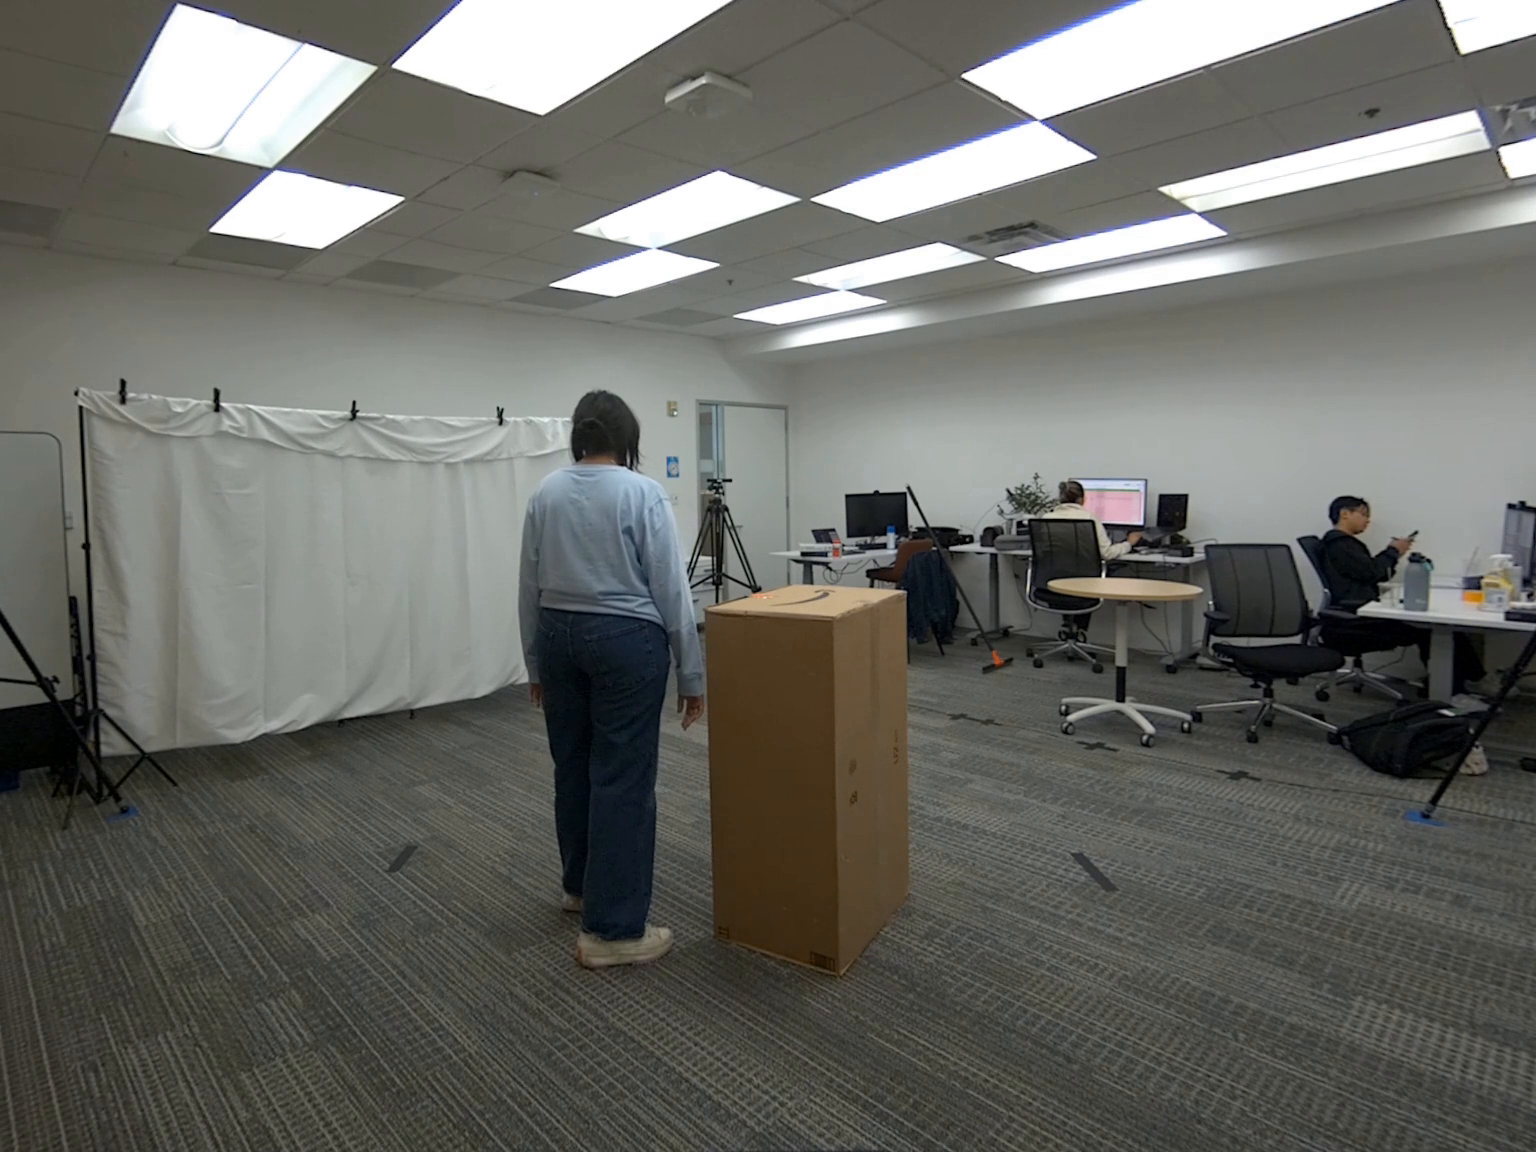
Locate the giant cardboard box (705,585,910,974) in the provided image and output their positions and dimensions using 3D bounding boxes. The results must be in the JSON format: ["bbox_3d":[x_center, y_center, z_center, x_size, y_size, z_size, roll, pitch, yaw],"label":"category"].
[{"bbox_3d":[0.143,0.581,2.704,0.438,1.022,0.564,1,5,31],"label":"giant cardboard box"}]
